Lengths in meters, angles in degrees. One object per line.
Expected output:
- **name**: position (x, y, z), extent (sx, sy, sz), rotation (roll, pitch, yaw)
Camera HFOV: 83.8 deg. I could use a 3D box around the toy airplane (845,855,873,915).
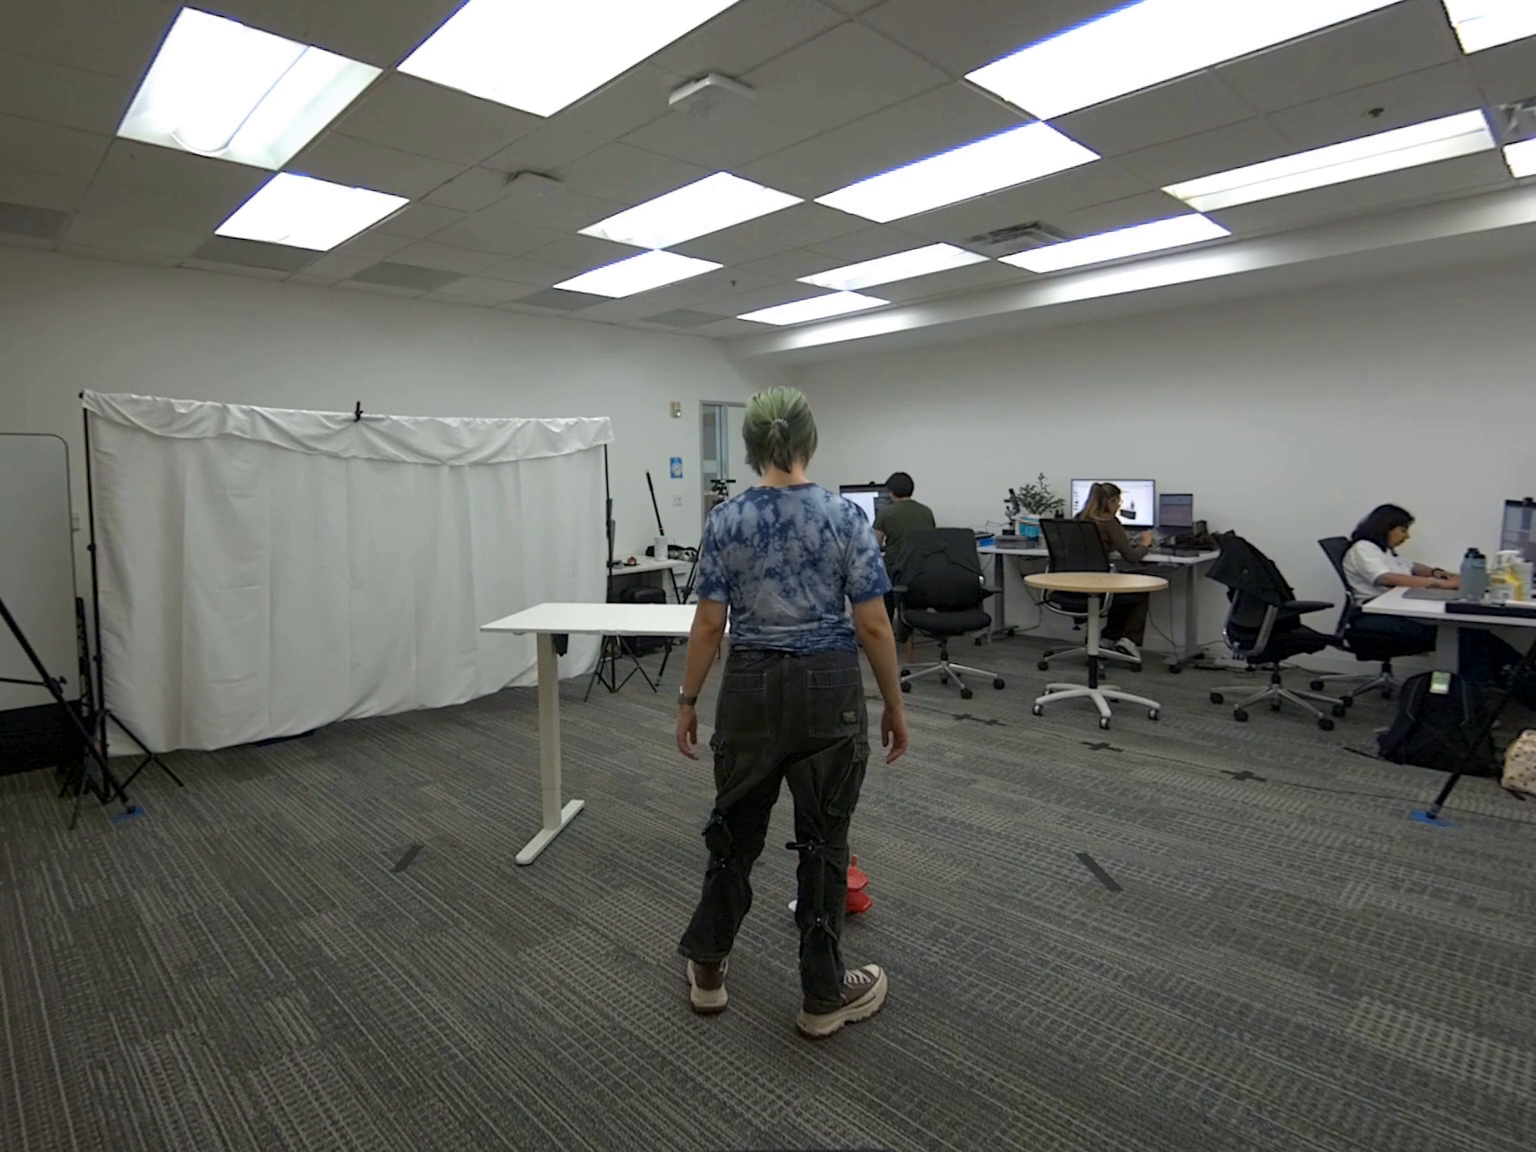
- **toy airplane**: position (0.211, 1.015, 2.707), extent (0.256, 0.156, 0.255), rotation (1, 4, 19)
